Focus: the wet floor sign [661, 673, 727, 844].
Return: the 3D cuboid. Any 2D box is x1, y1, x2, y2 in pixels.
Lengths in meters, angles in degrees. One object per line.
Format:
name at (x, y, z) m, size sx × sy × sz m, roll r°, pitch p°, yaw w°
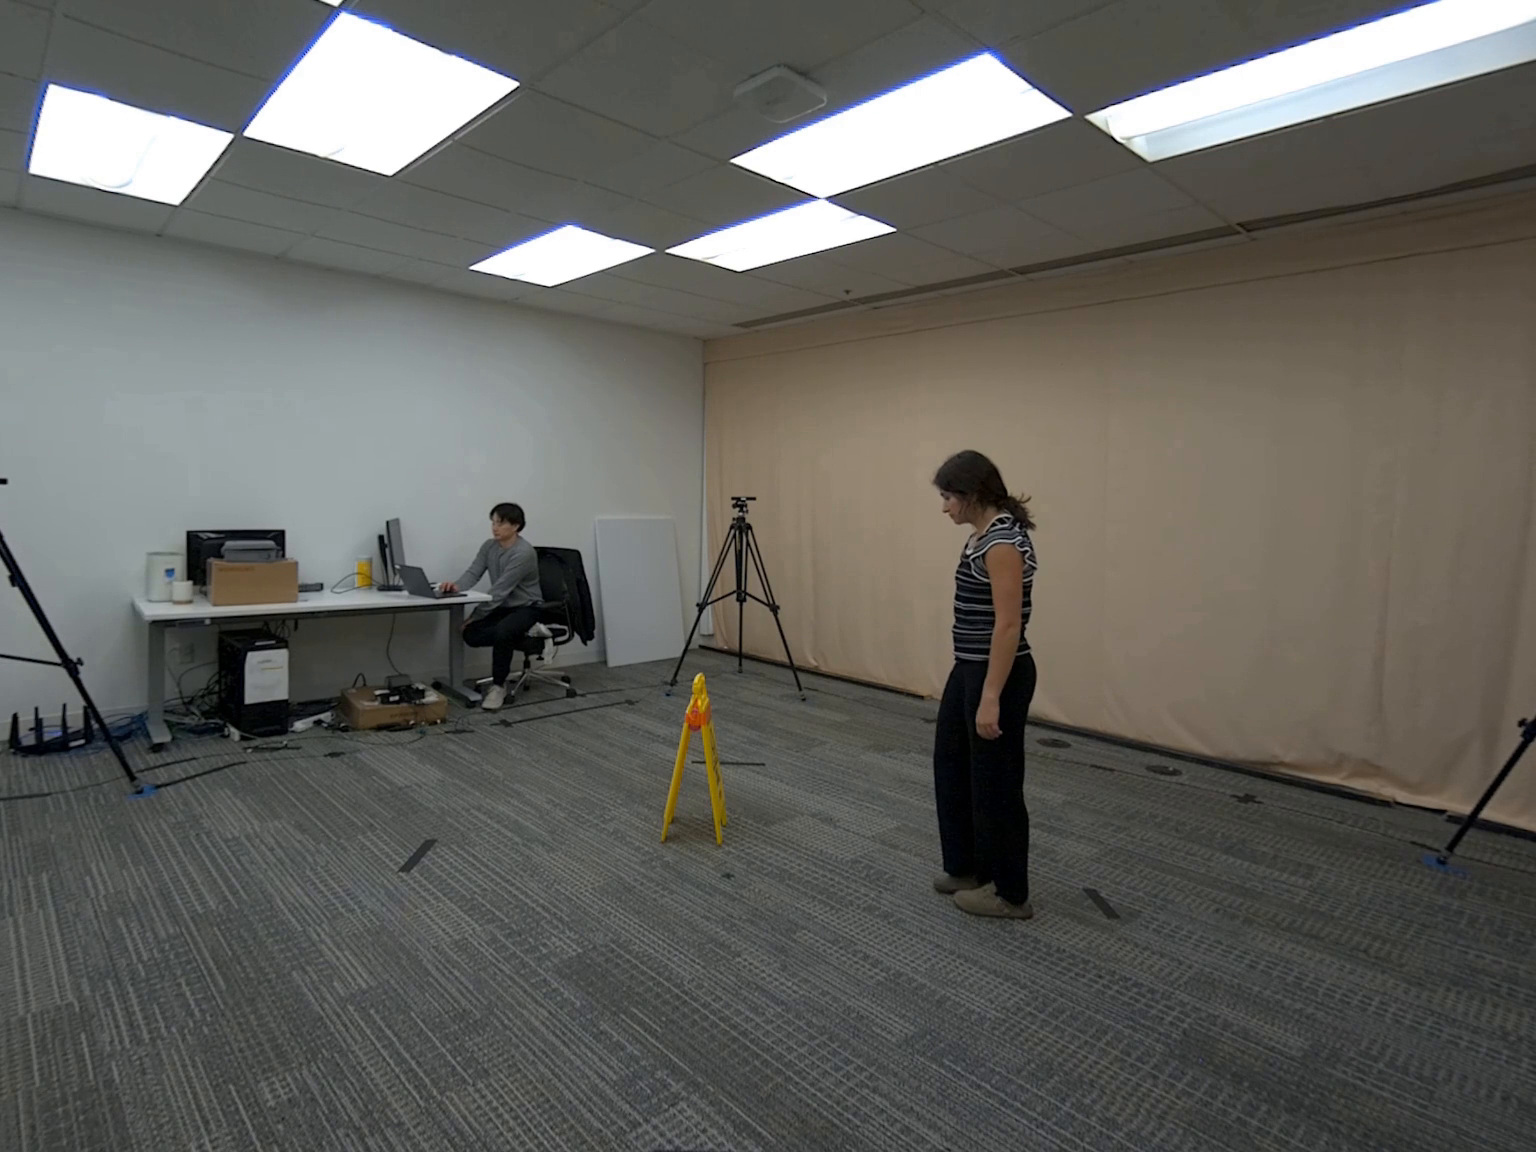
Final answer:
wet floor sign at (-0.301, 0.745, 3.500) m, size 0.291 × 0.644 × 0.282 m, roll 3°, pitch 5°, yaw 3°
